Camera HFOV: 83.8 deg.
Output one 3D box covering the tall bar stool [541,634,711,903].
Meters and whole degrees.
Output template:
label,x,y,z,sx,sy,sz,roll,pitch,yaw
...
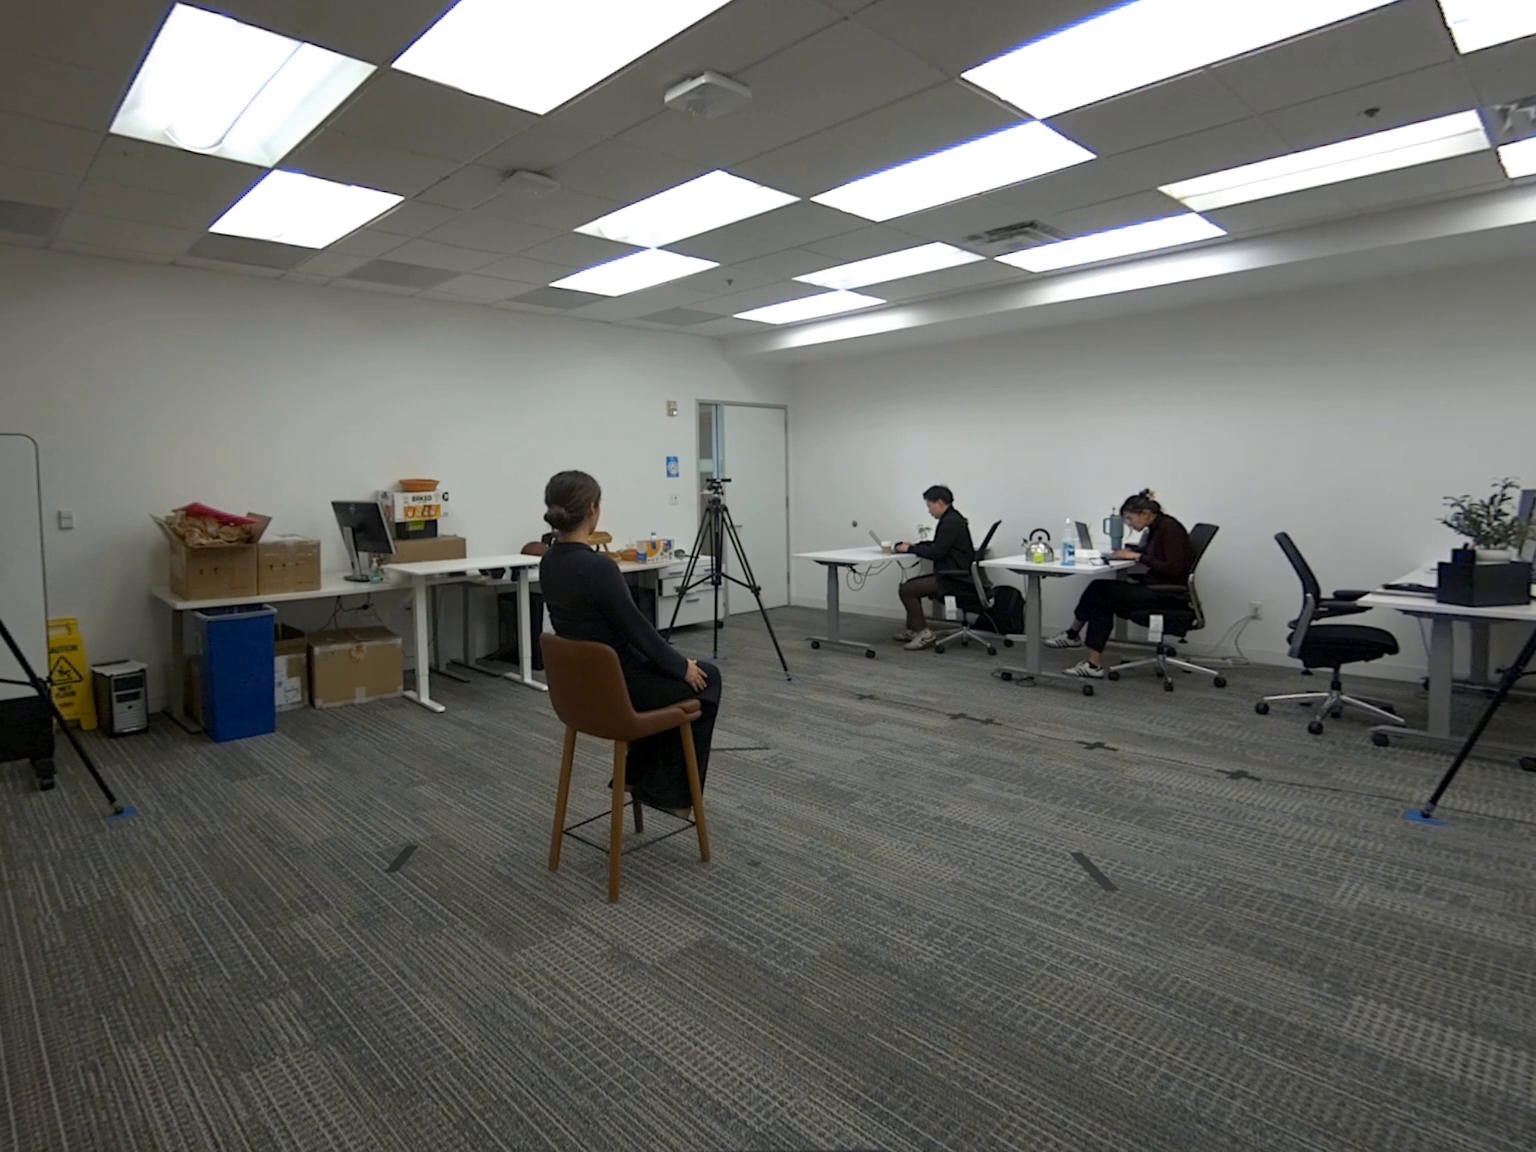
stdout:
label,x,y,z,sx,sy,sz,roll,pitch,yaw
tall bar stool,-0.528,0.621,3.081,0.470,0.885,0.456,3,8,43
